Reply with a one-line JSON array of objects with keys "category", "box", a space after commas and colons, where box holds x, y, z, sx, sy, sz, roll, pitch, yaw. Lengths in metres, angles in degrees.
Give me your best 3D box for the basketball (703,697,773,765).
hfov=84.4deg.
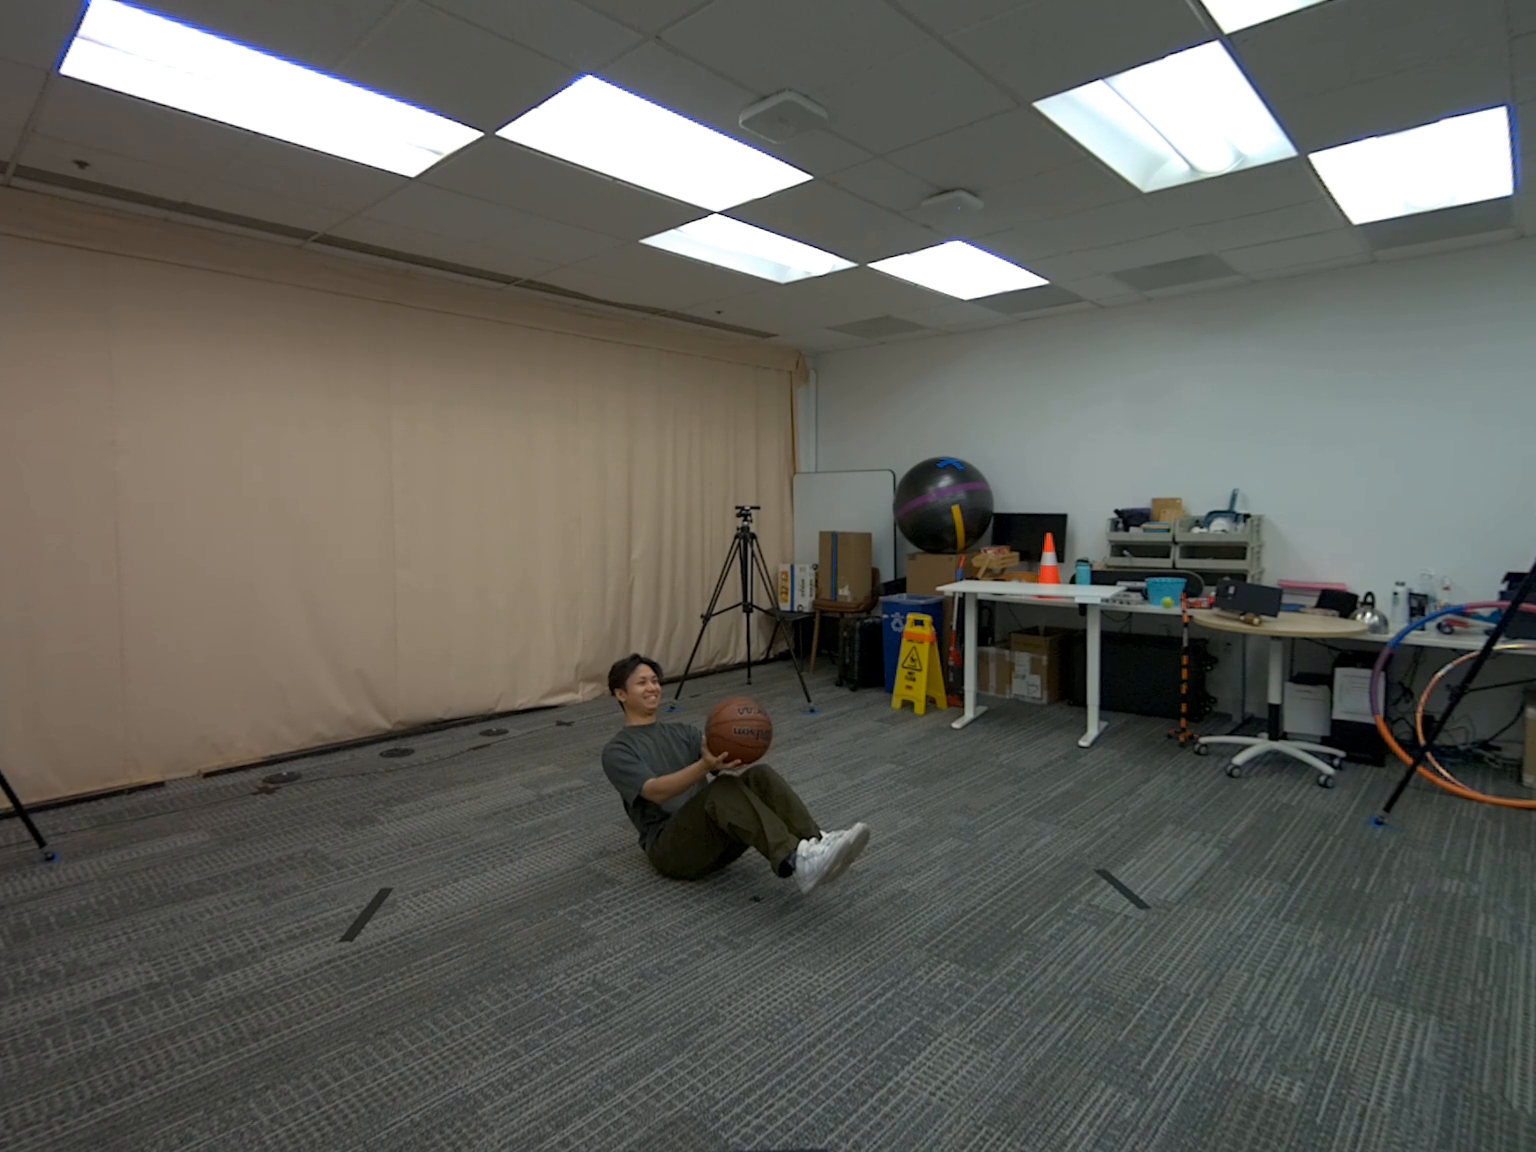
[{"category": "basketball", "box": [-0.106, 0.552, 2.947, 0.236, 0.235, 0.237, 0, 4, -2]}]
